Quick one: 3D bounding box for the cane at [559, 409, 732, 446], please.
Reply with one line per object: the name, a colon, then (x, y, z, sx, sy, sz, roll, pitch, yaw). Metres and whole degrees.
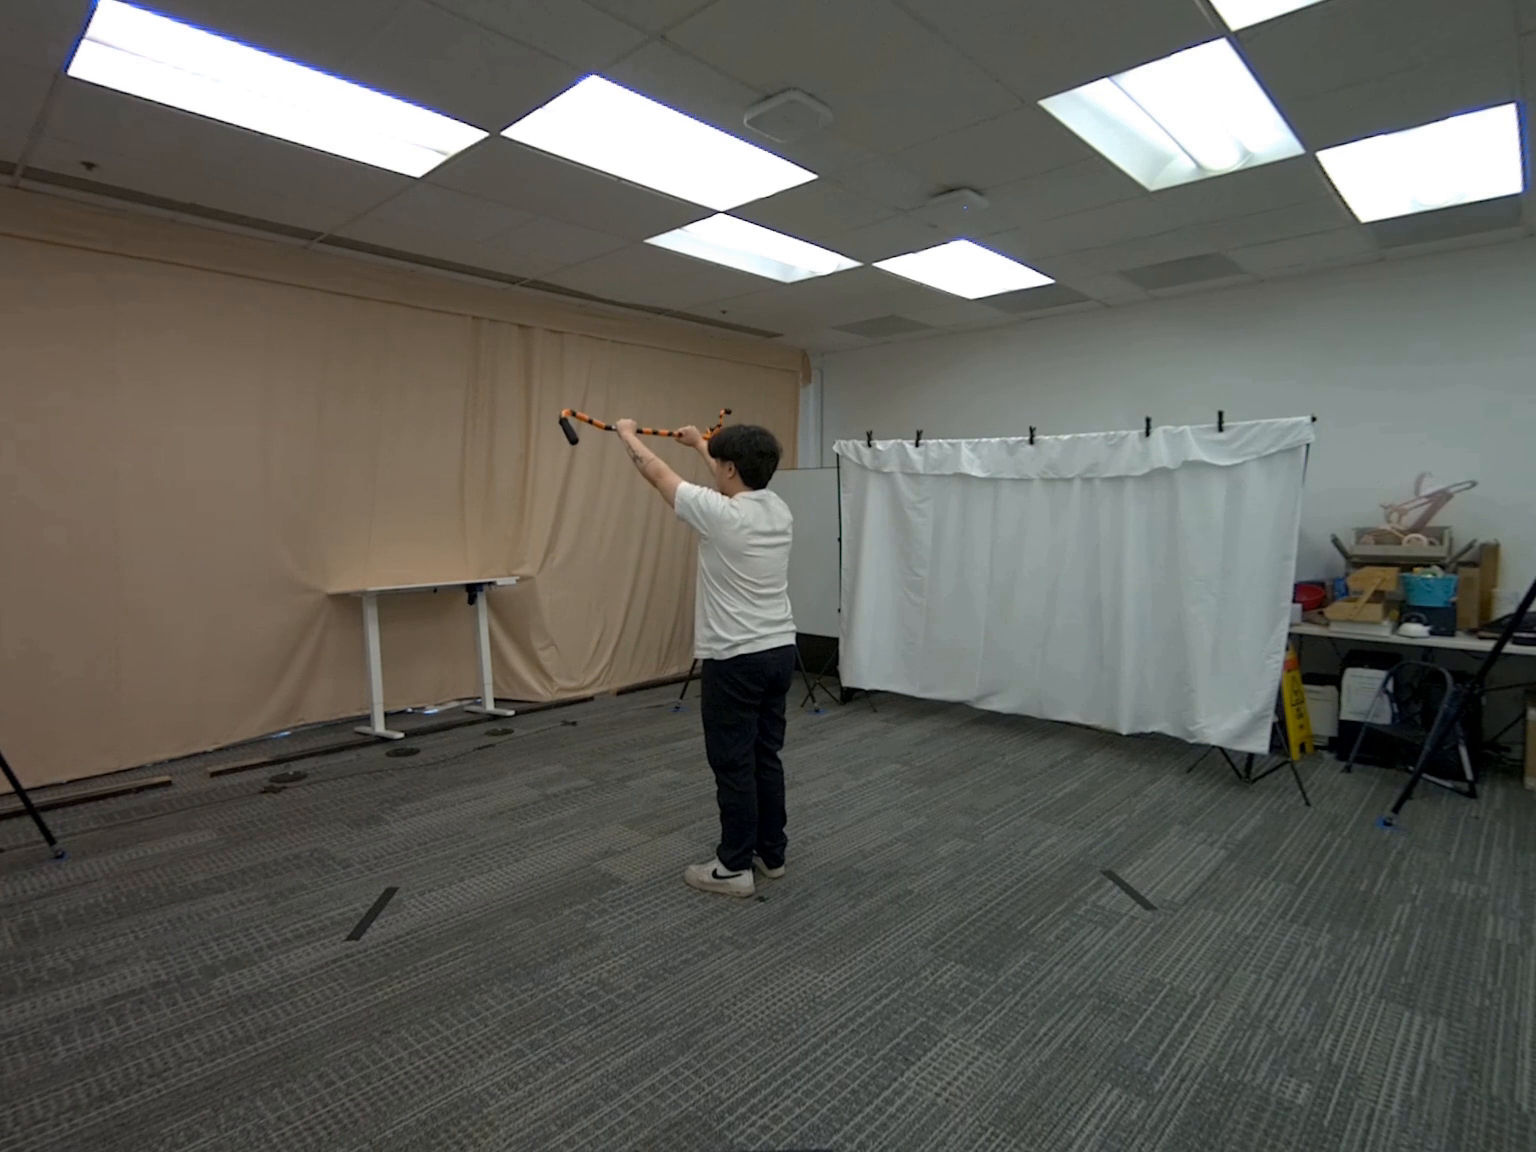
cane: (-0.437, -0.580, 3.328, 0.881, 0.211, 0.153, -6, -32, -51)
